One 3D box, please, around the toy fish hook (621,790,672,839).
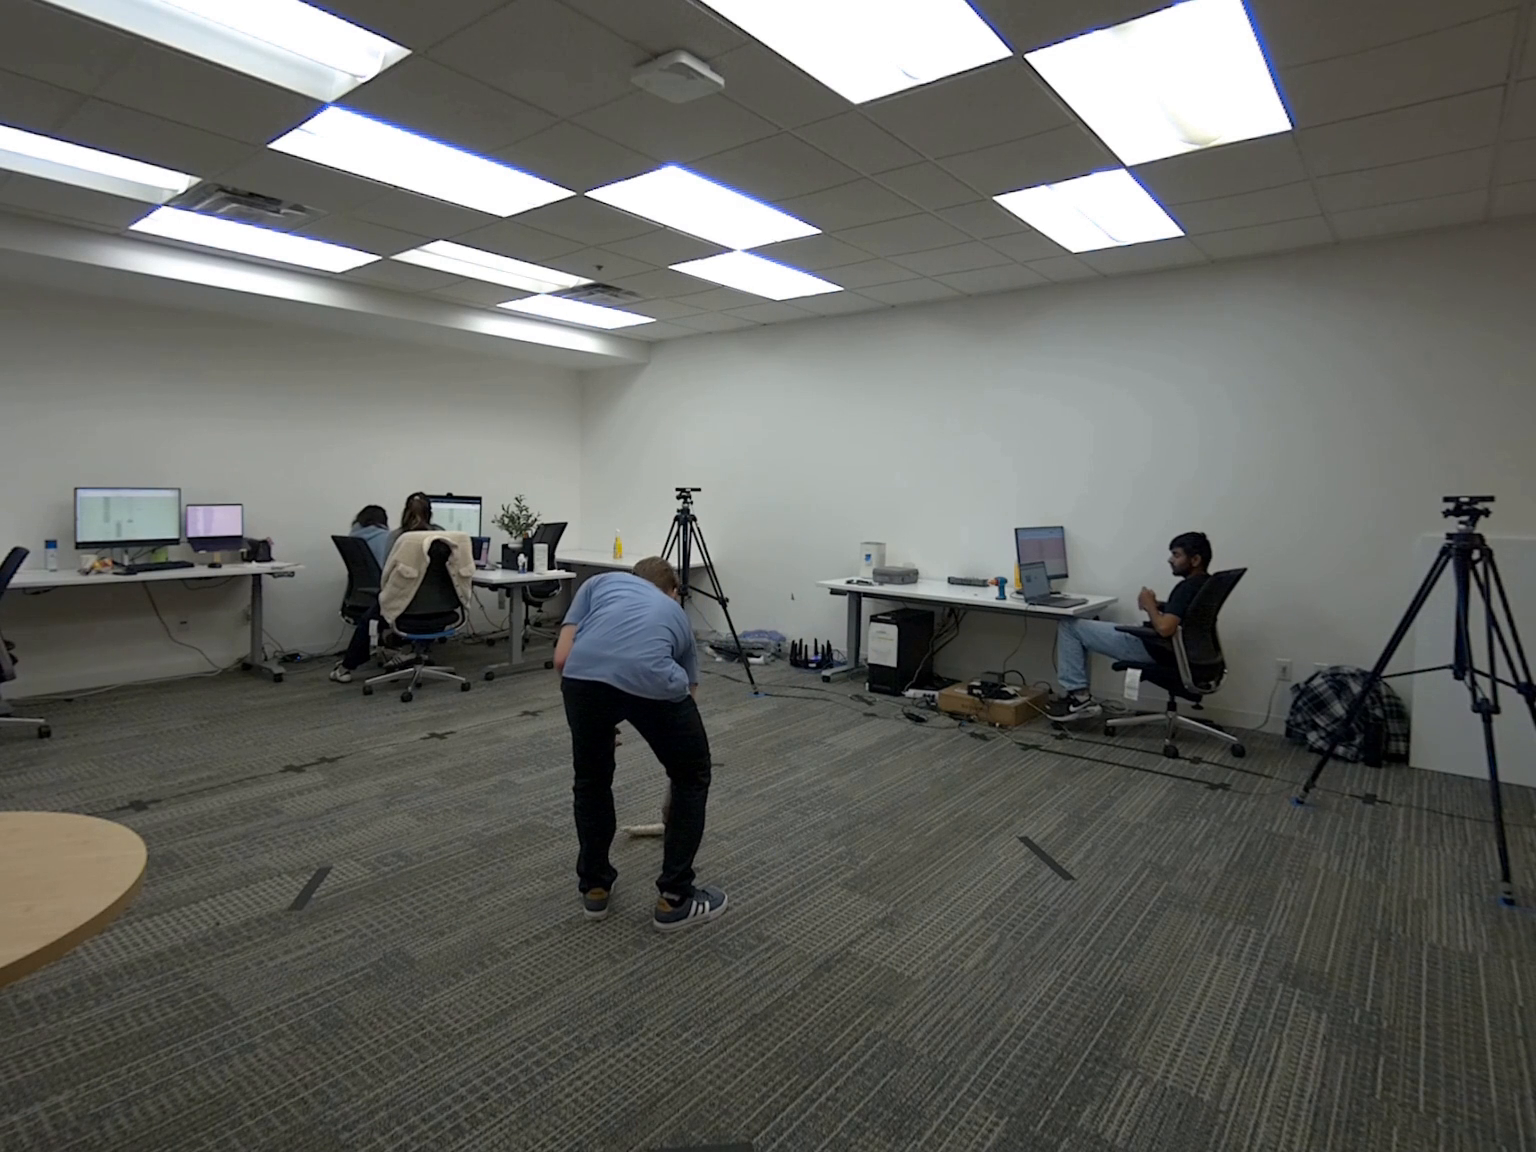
[{"bbox_3d":[-0.448,0.926,3.212,0.221,0.049,0.503,-2,-22,-17],"label":"toy fish hook"}]
